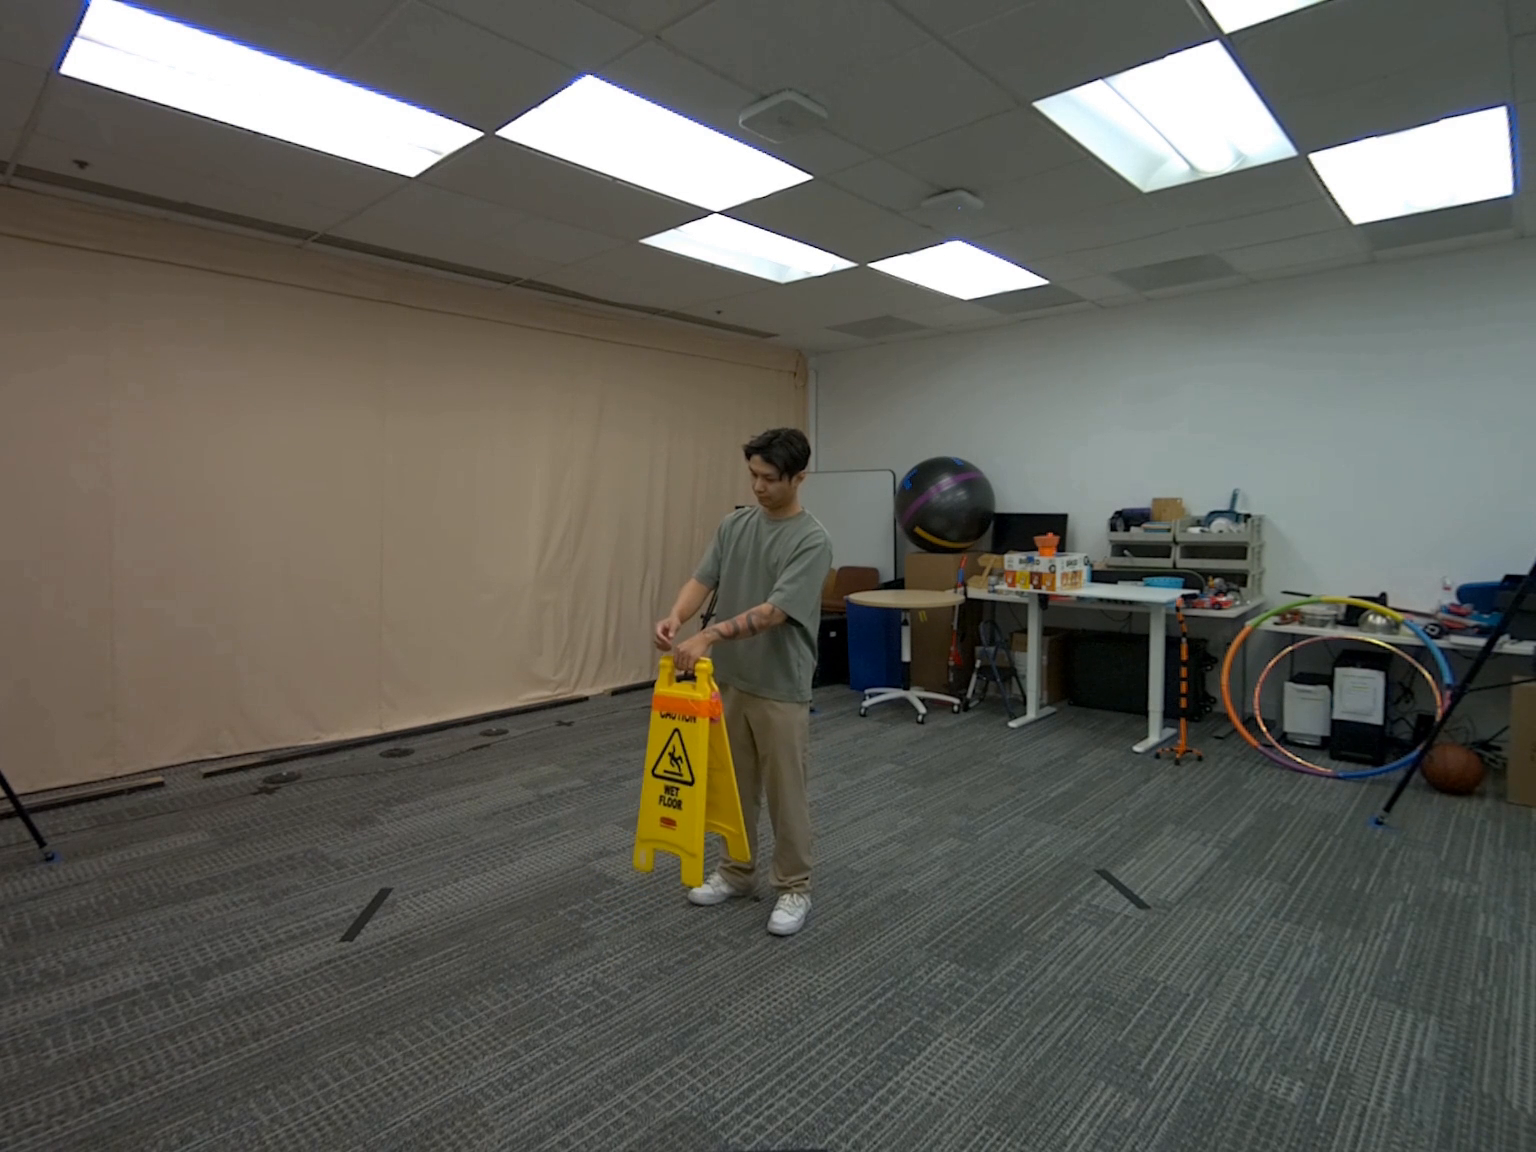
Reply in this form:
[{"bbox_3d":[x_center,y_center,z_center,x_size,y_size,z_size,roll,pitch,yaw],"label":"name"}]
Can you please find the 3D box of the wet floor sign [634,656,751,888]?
[{"bbox_3d":[-0.245,0.579,2.621,0.291,0.645,0.281,0,2,37],"label":"wet floor sign"}]
